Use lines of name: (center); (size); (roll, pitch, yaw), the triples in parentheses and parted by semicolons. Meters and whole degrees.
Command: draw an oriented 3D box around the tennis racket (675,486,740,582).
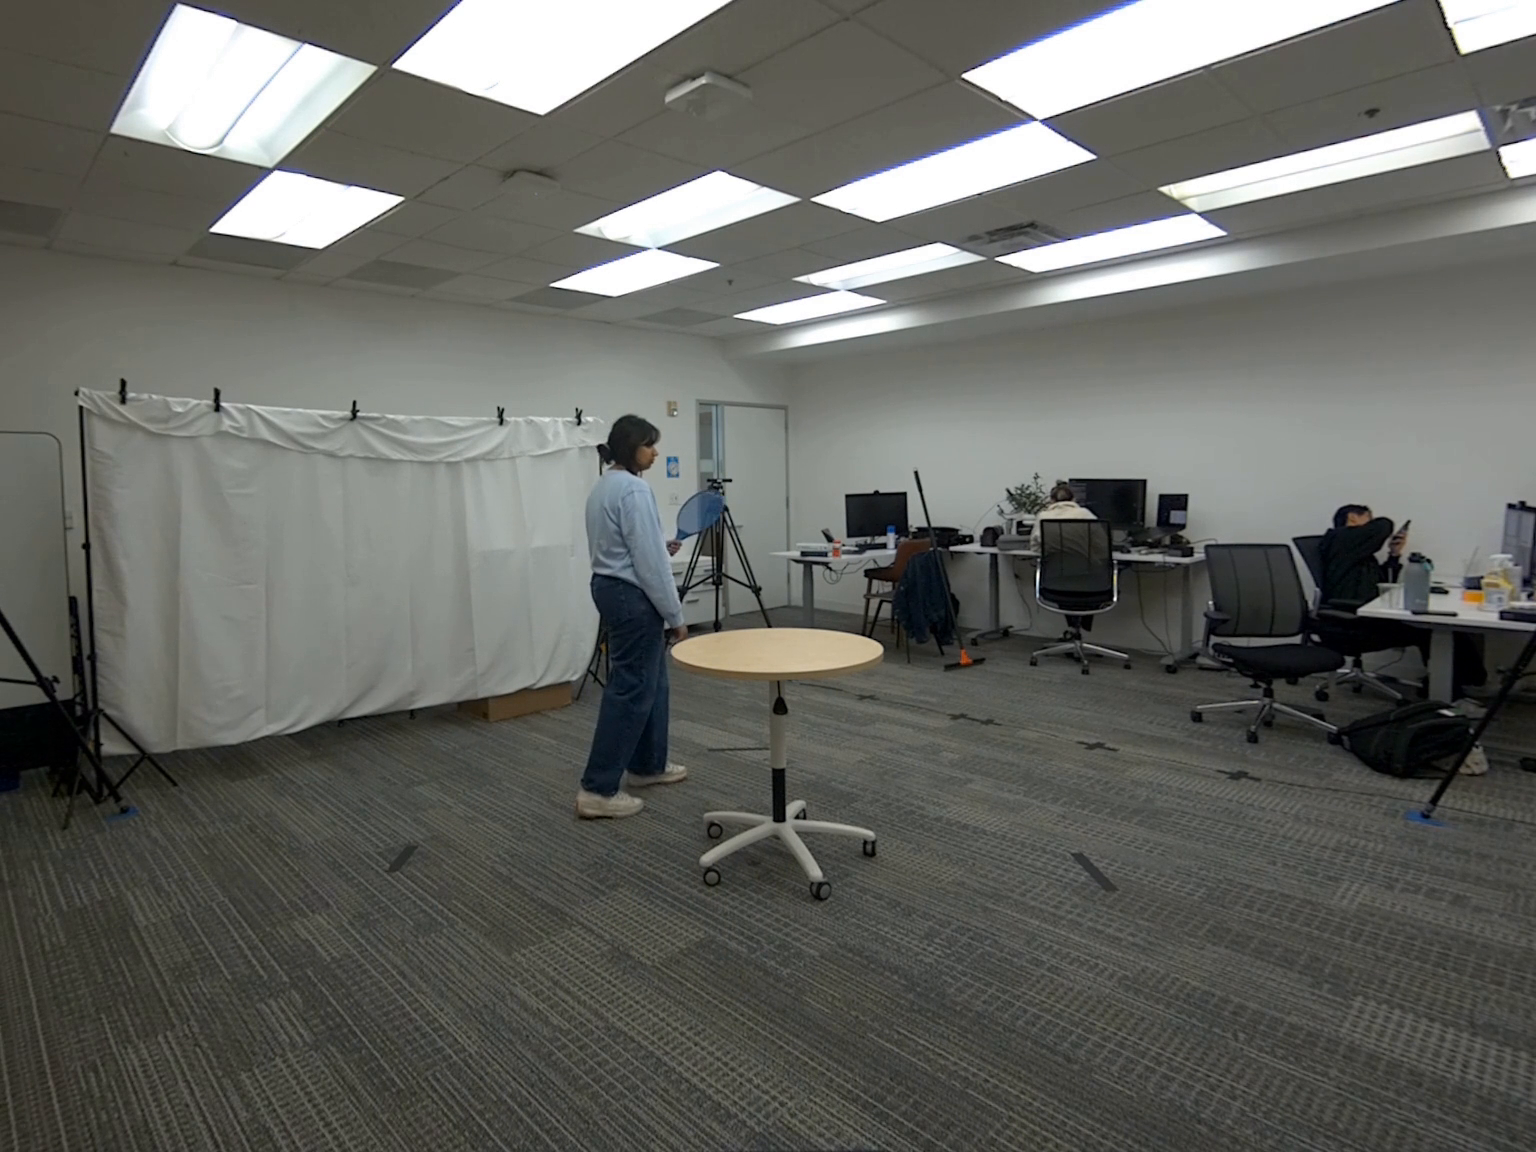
tennis racket: (-0.379, -0.228, 3.989); (0.221, 0.434, 0.030); (25, -21, 33)
